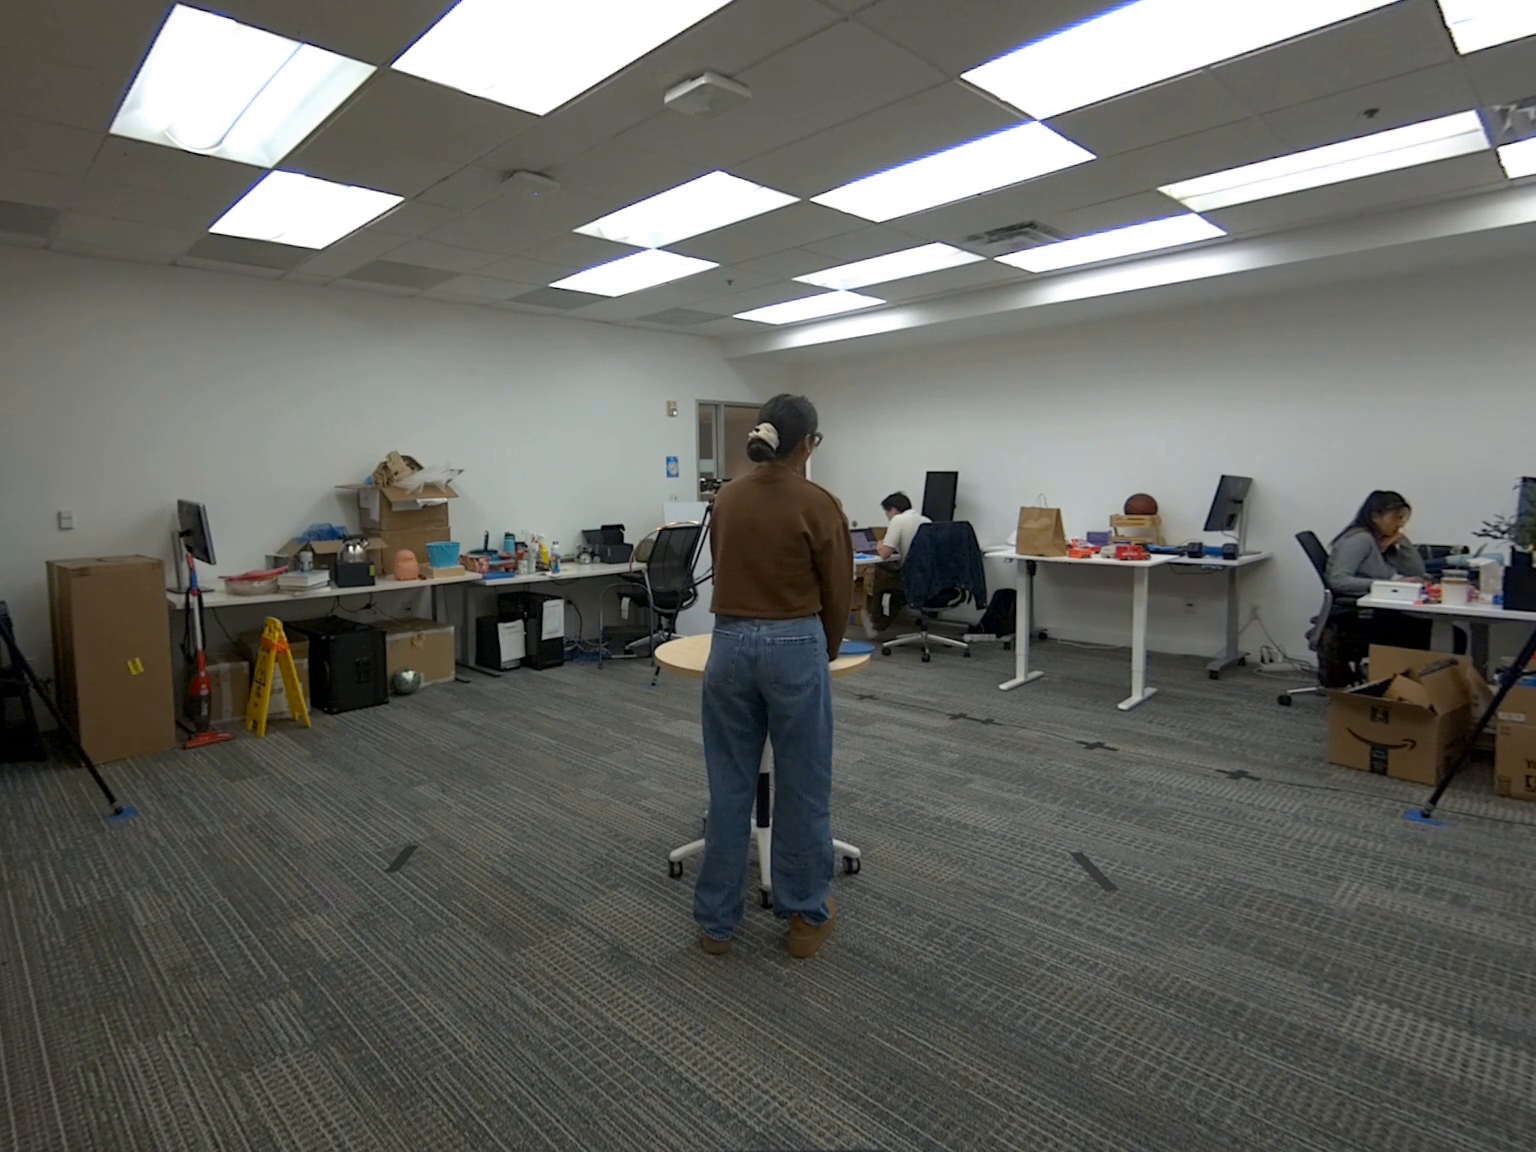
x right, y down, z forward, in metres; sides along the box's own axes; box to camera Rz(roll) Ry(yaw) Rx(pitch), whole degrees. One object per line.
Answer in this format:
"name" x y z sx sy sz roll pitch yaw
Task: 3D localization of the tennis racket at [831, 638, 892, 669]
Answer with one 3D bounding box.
"tennis racket" 0.264 0.261 2.980 0.219 0.032 0.424 3 4 24
